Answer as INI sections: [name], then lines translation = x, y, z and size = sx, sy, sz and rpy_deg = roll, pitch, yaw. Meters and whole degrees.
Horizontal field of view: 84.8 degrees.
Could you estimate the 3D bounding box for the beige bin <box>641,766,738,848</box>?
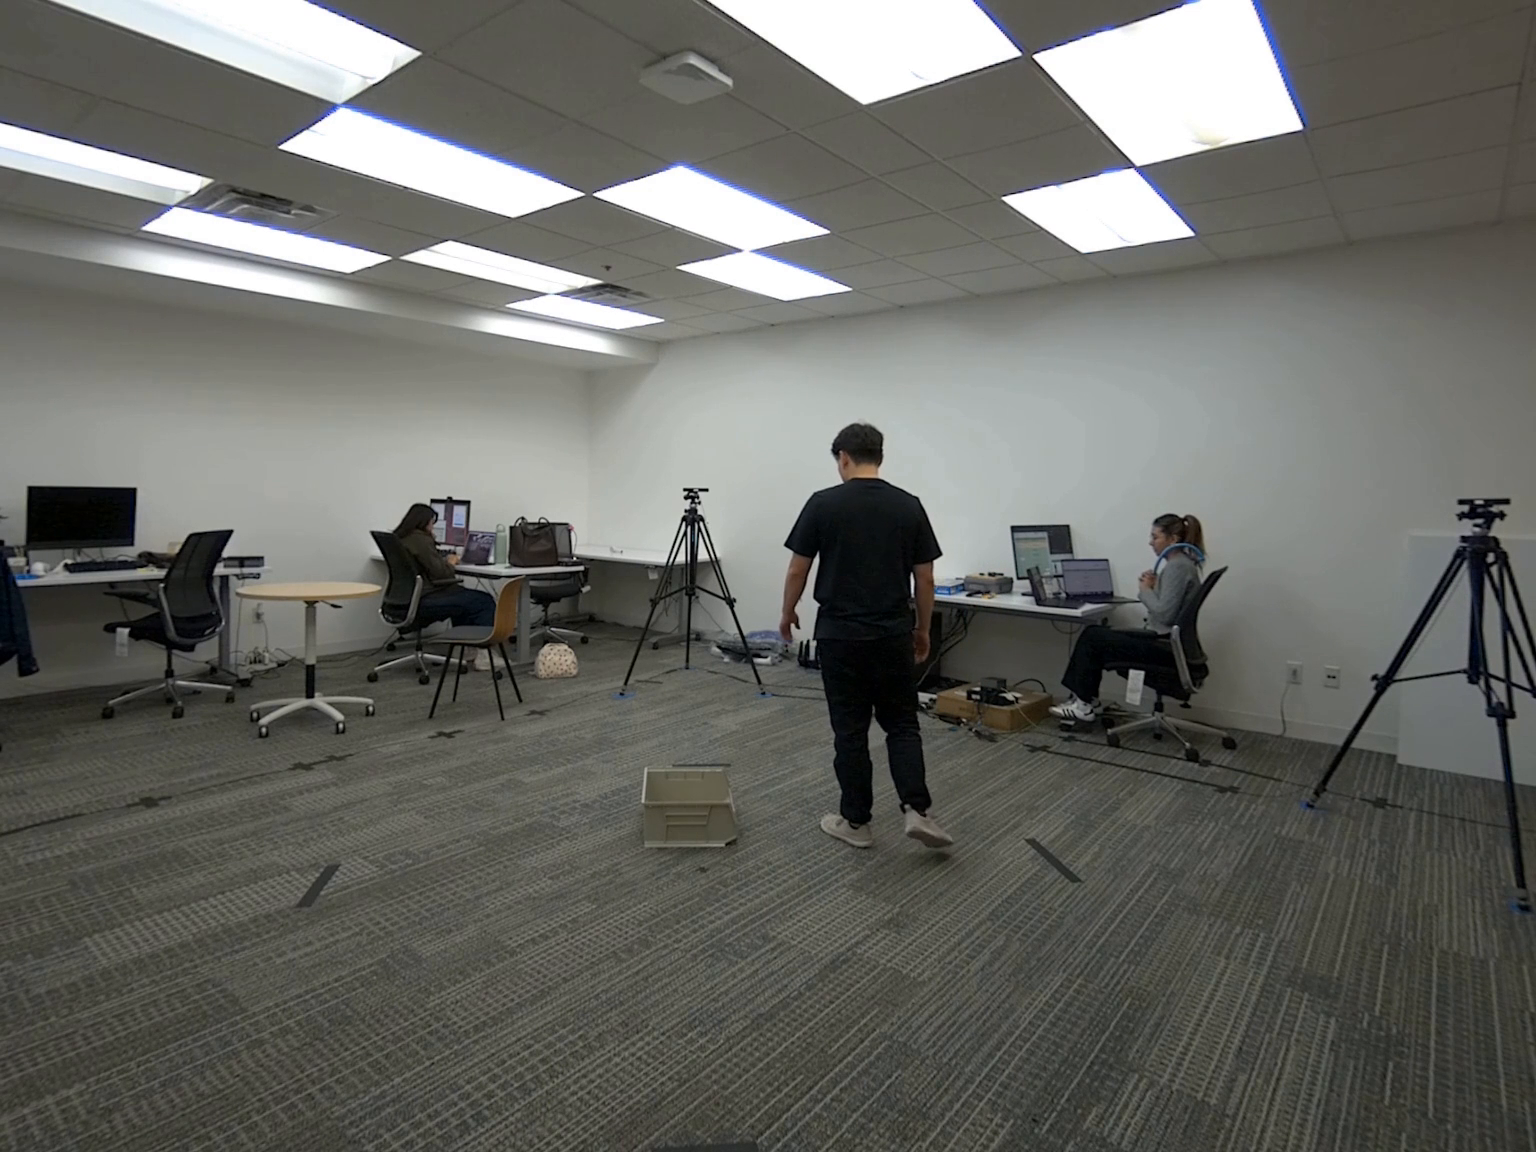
[beige bin]
translation = -0.338, 0.942, 3.504
size = 0.376, 0.188, 0.427
rpy_deg = 0, 7, -5
